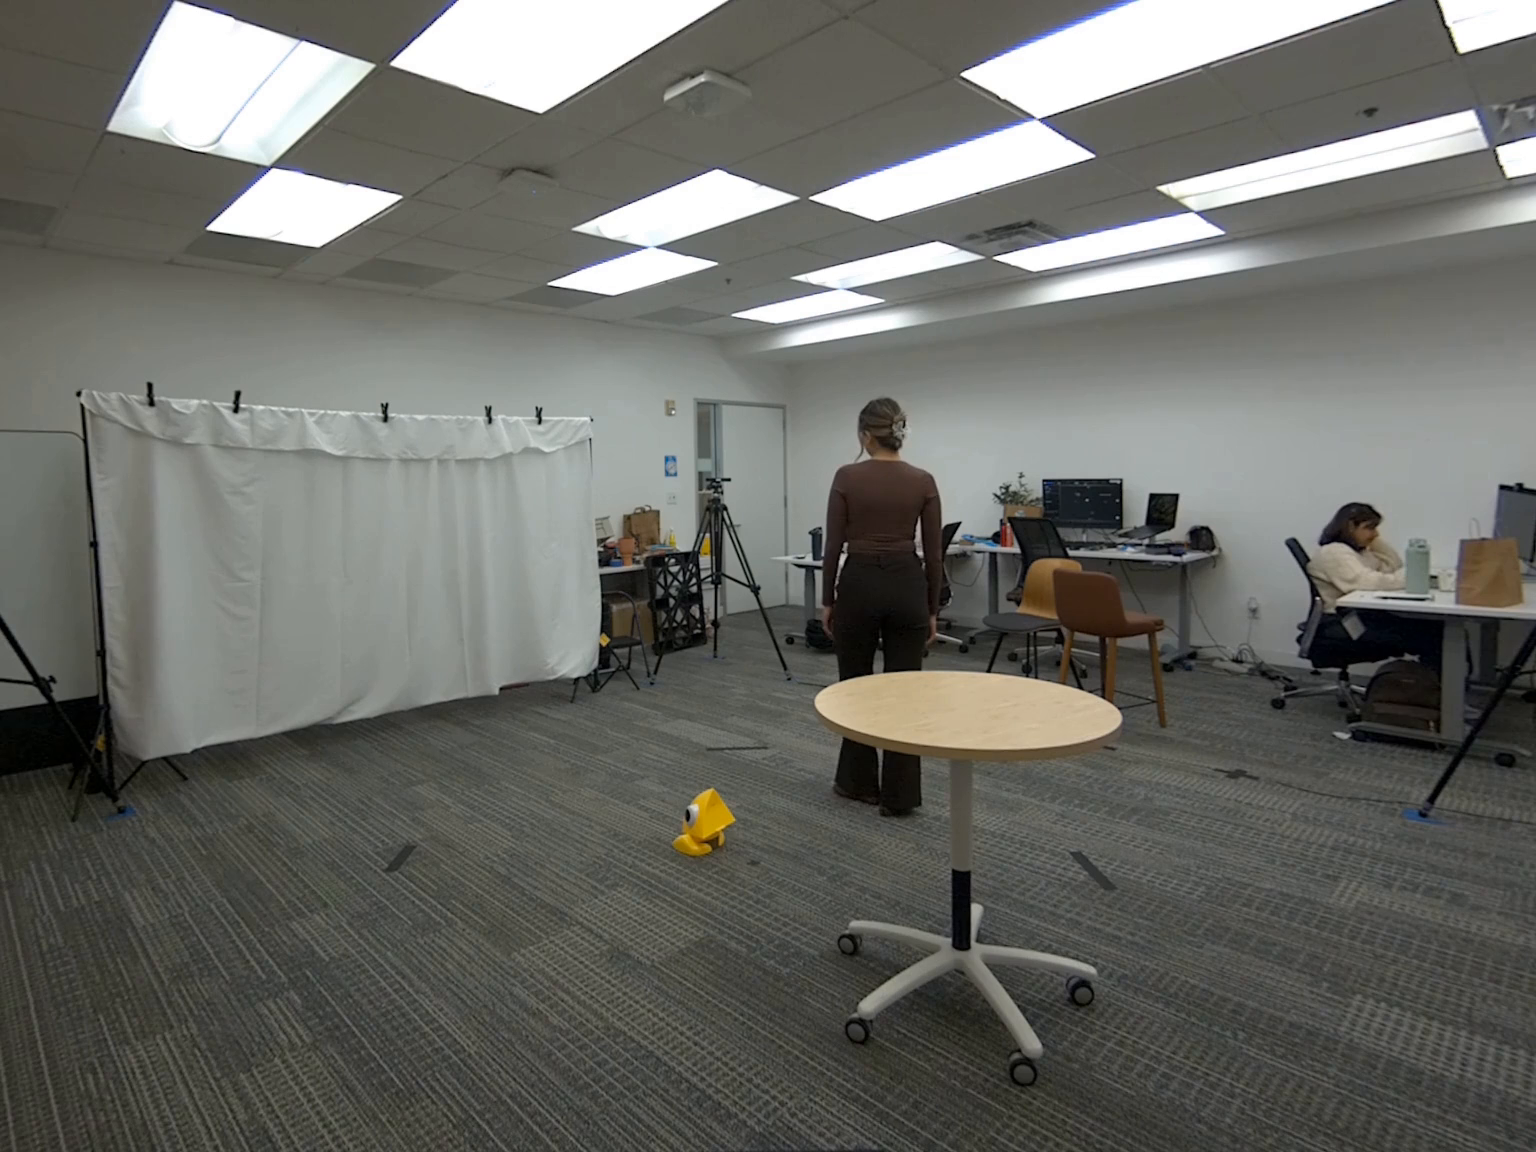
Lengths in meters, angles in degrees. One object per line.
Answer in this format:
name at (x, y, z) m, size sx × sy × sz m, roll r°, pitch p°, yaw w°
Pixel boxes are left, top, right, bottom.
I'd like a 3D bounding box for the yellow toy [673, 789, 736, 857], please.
yellow toy at (-0.254, 0.918, 3.264) m, size 0.198 × 0.230 × 0.200 m, roll 2°, pitch 6°, yaw 35°
